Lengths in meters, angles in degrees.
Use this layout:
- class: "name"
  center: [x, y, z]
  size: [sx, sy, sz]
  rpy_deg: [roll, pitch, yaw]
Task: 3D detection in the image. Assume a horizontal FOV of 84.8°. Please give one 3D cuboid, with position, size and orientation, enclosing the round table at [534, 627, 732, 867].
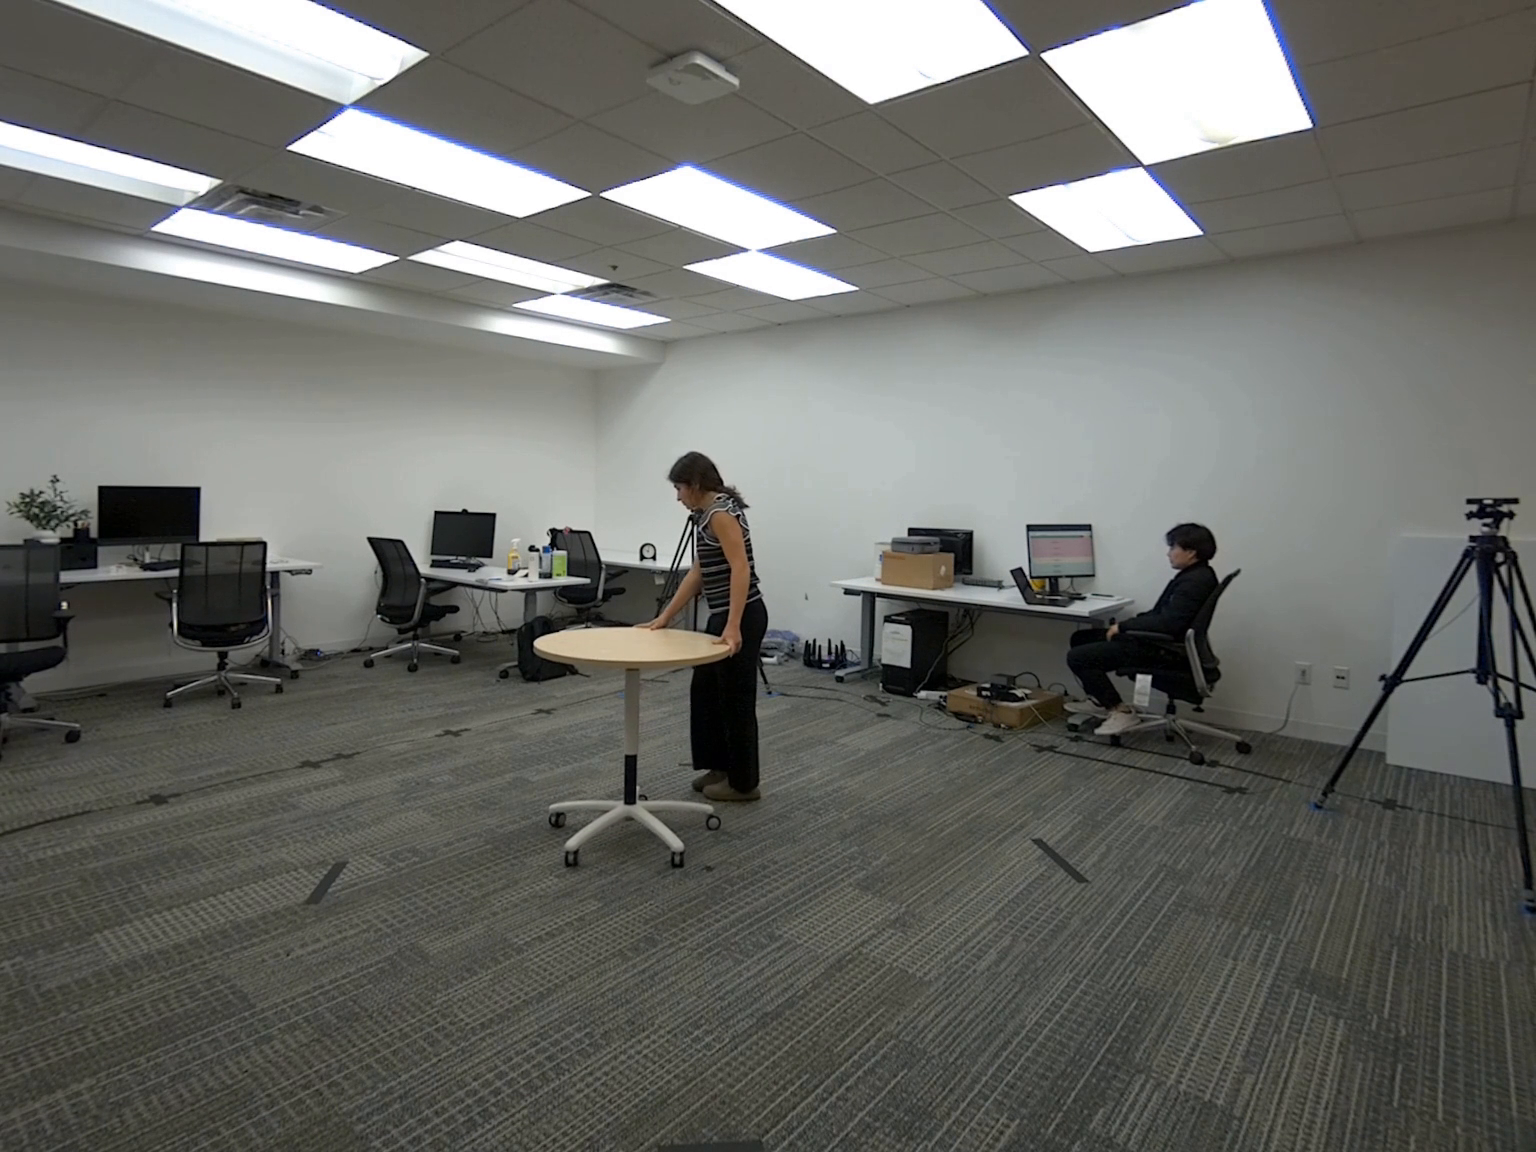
- class: "round table"
  center: [-0.551, 0.649, 3.349]
  size: [0.763, 0.792, 0.767]
  rpy_deg: [1, 4, -2]
